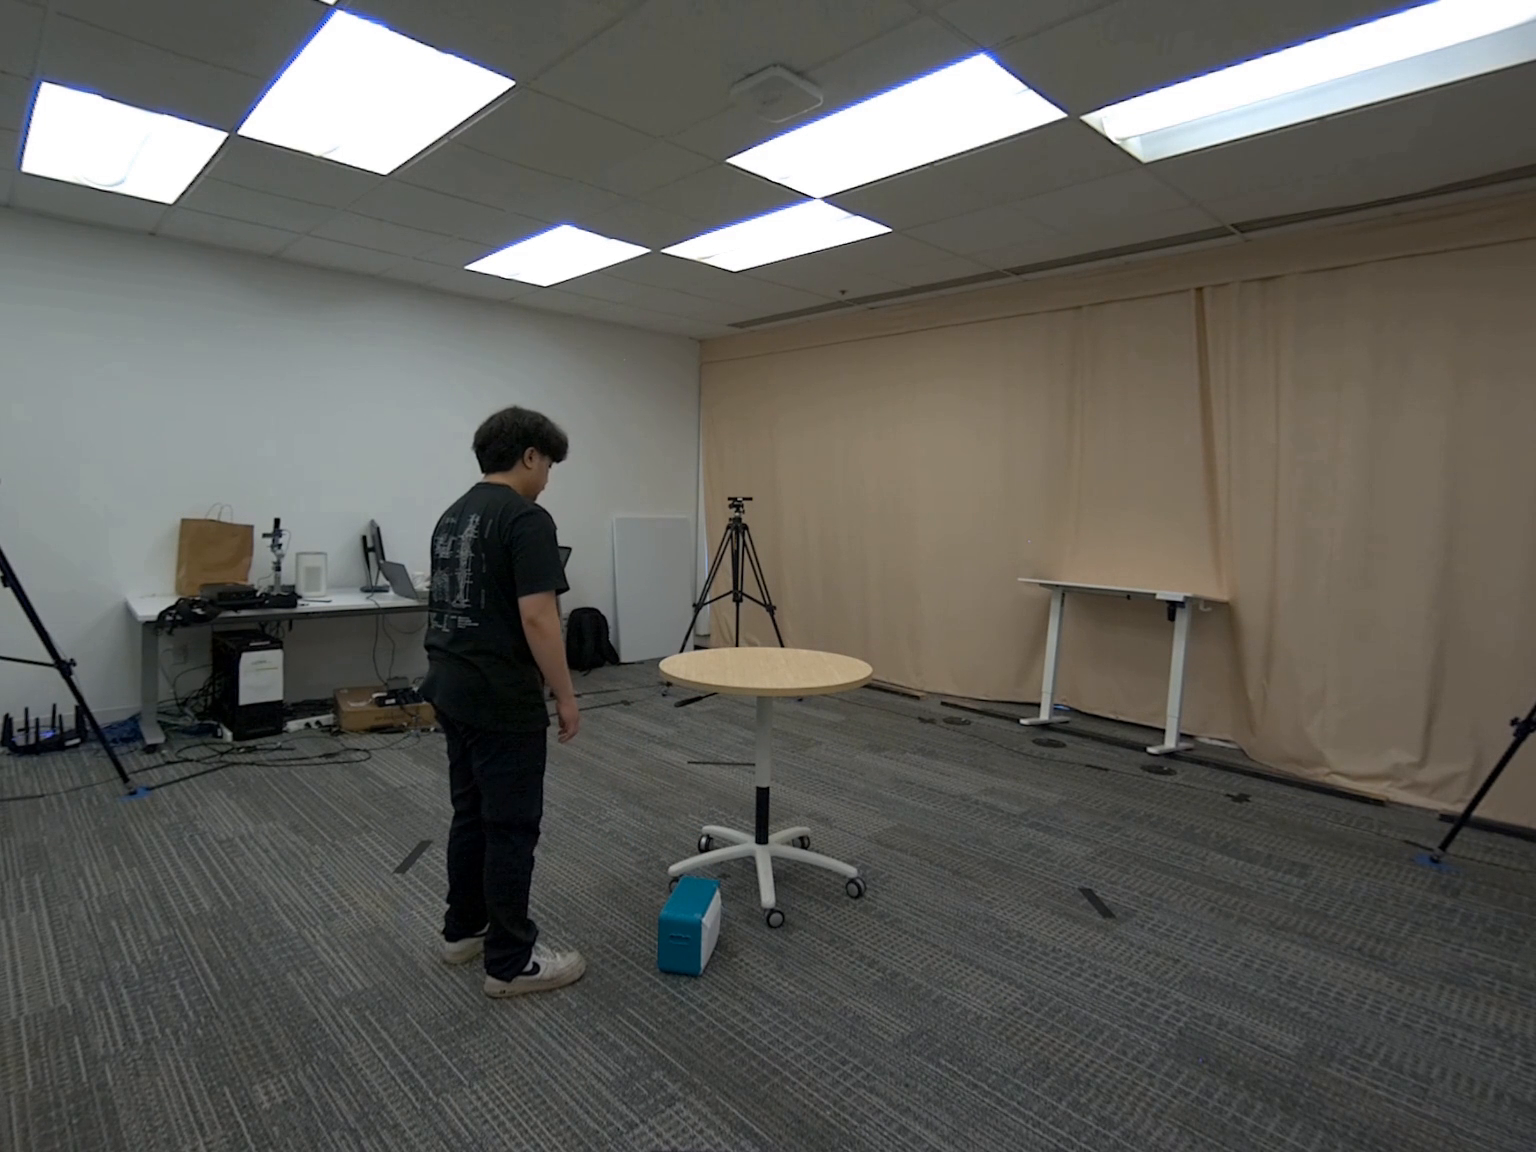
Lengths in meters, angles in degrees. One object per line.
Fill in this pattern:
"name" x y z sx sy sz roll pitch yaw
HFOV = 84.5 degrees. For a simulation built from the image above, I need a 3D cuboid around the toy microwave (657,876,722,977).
"toy microwave" -0.229 1.058 2.568 0.154 0.183 0.284 0 4 10
